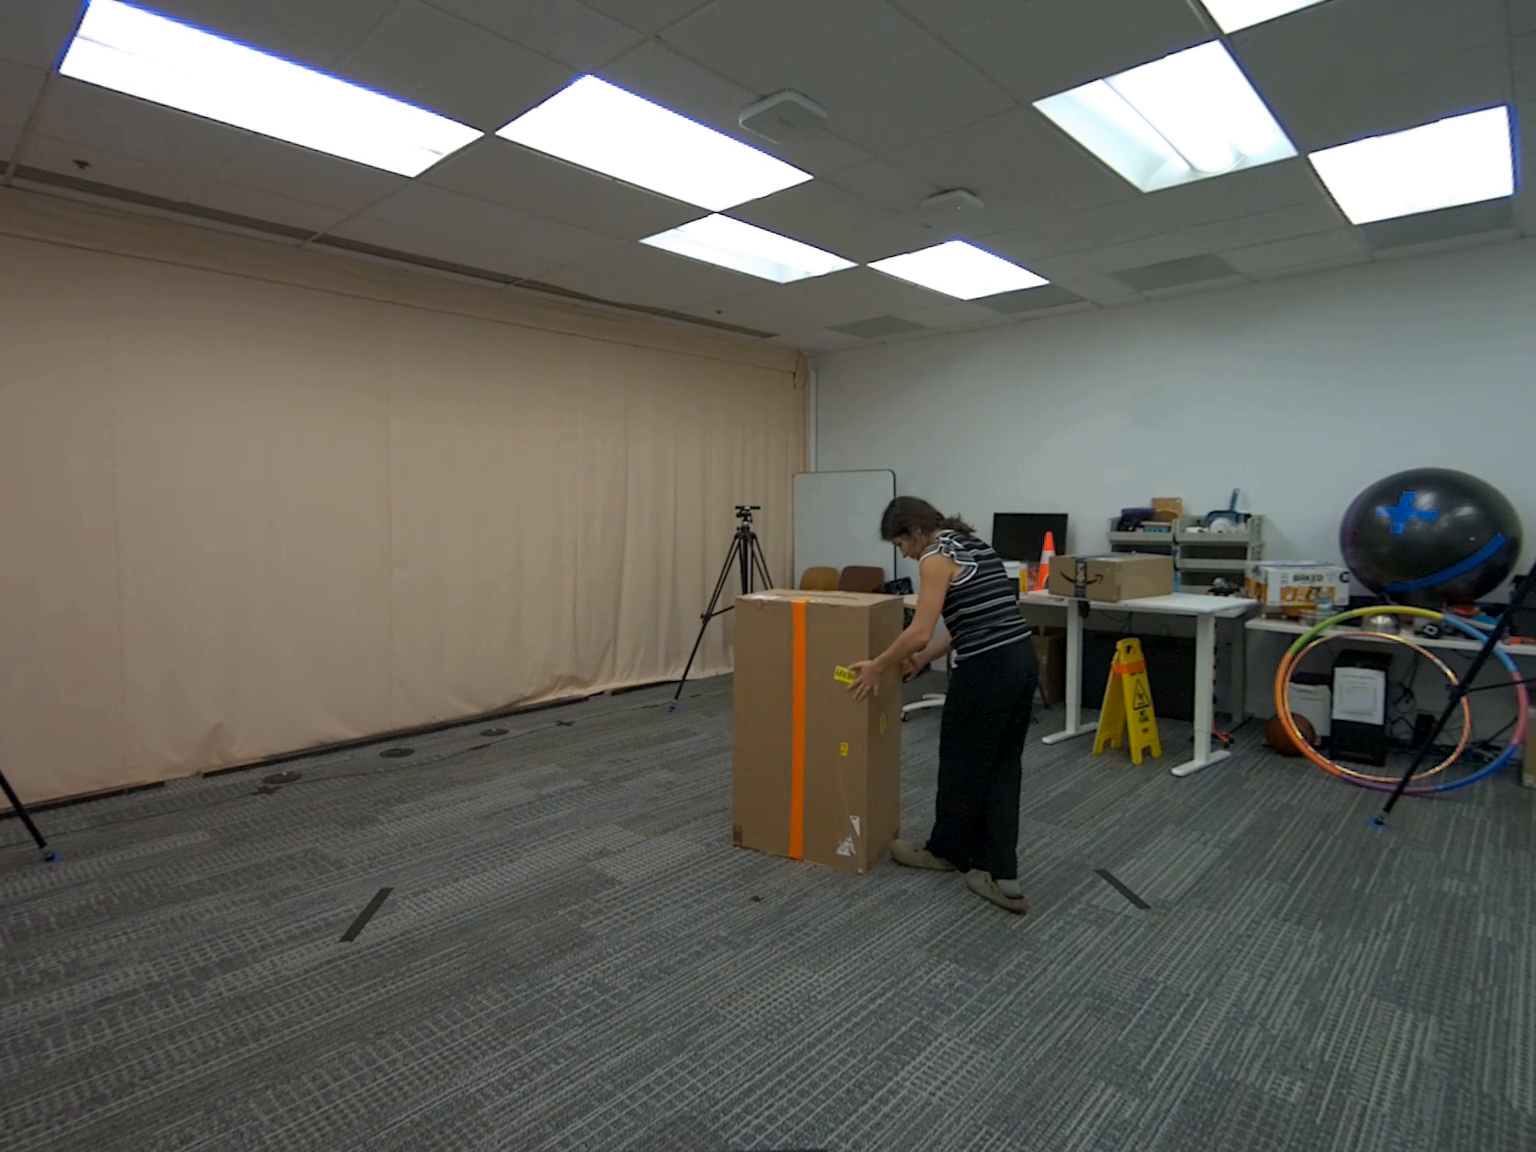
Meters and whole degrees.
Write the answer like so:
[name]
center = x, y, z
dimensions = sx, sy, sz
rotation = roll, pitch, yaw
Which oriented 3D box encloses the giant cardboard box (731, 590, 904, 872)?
[giant cardboard box]
center = 0.208, 0.592, 3.470
dimensions = 0.594, 1.024, 0.415
rotation = 2, 3, 29
